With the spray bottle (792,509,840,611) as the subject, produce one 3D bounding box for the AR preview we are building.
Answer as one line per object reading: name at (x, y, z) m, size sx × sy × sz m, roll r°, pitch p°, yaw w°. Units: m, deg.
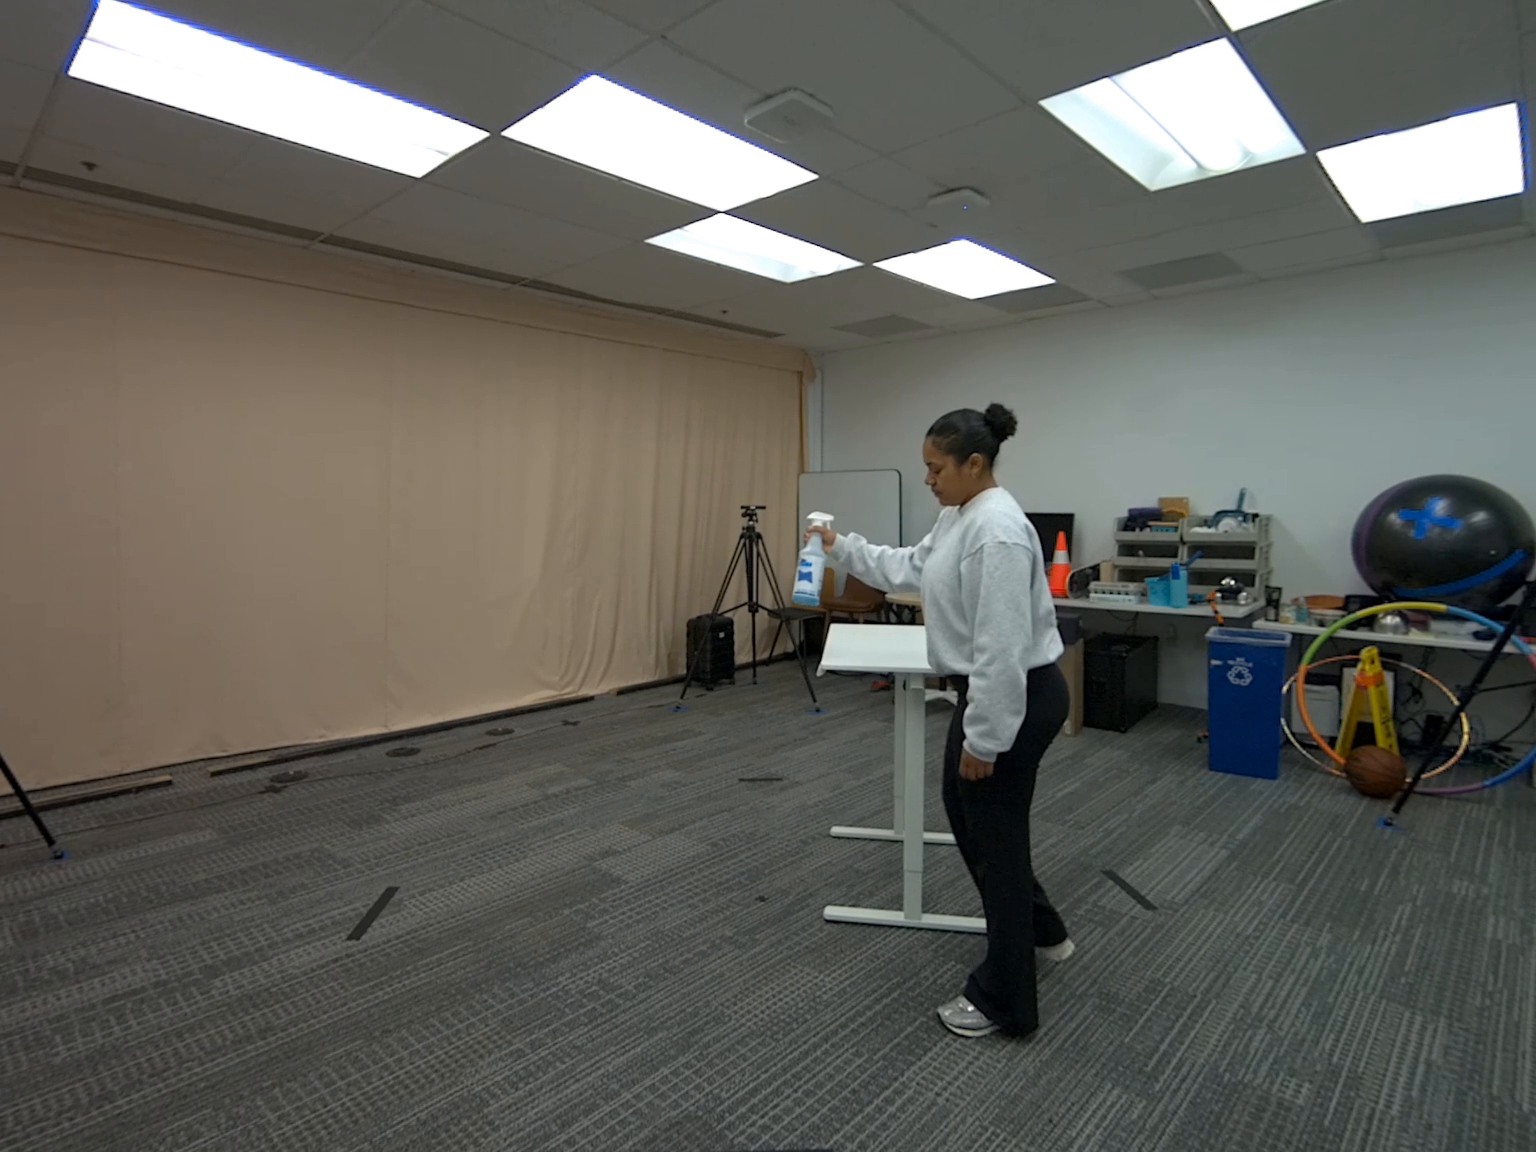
spray bottle at (0.150, -0.051, 2.654) m, size 0.090 × 0.298 × 0.086 m, roll 10°, pitch -10°, yaw 0°
